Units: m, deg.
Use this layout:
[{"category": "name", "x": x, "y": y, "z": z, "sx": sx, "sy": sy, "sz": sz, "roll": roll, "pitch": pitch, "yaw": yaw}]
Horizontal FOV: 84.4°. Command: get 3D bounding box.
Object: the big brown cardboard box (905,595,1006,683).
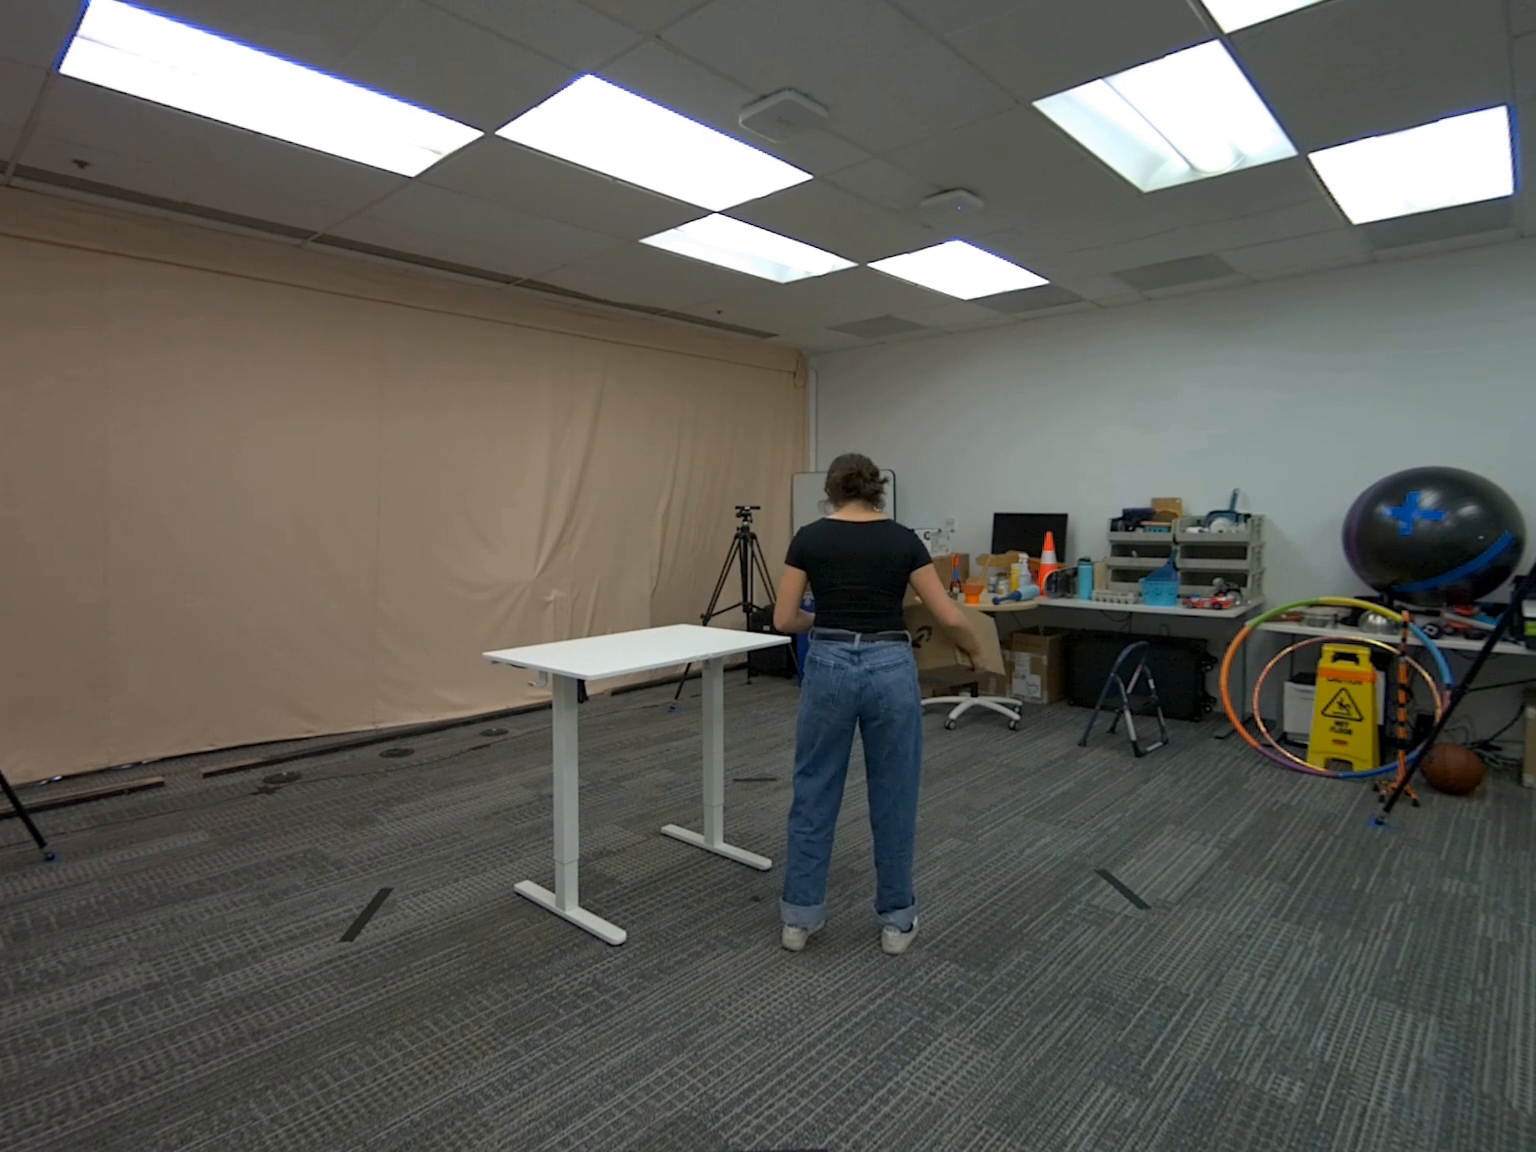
[{"category": "big brown cardboard box", "x": 0.535, "y": 0.258, "z": 2.967, "sx": 0.426, "sy": 0.236, "sz": 0.569, "roll": -15, "pitch": -18, "yaw": 27}]
